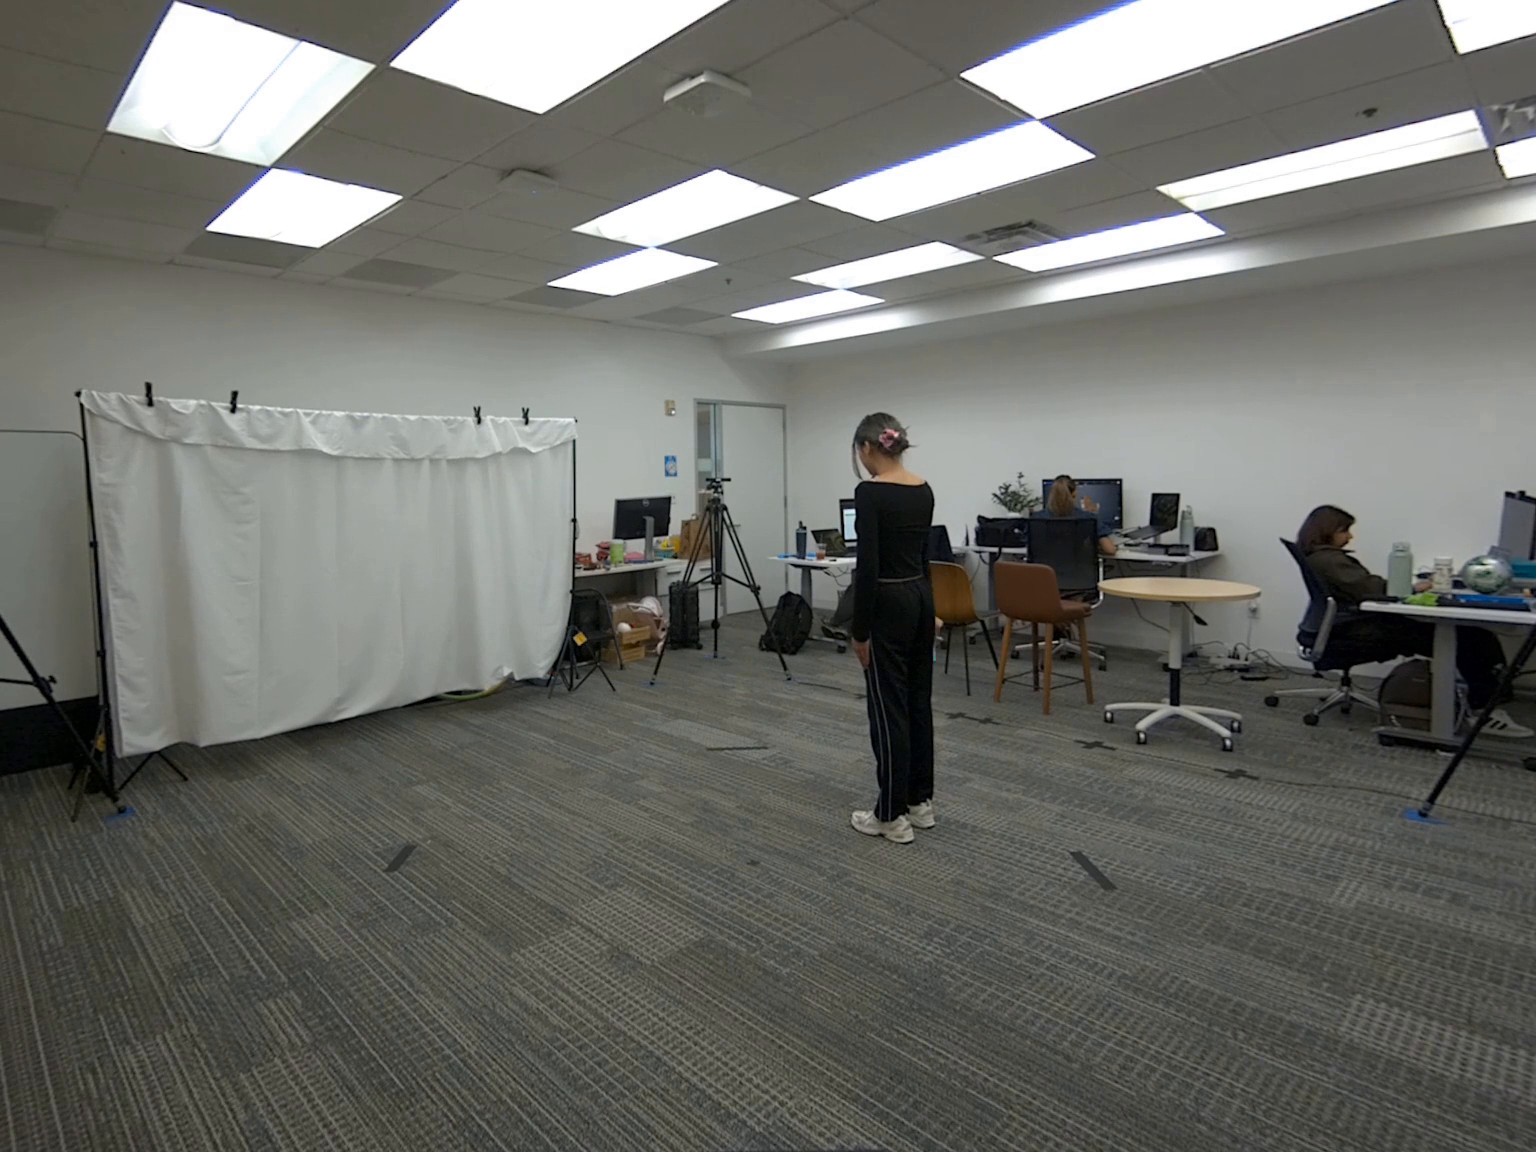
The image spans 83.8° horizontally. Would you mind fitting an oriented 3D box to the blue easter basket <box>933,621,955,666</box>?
[{"bbox_3d":[0.628,0.307,3.679,0.243,0.158,0.241,-8,-12,-4],"label":"blue easter basket"}]
